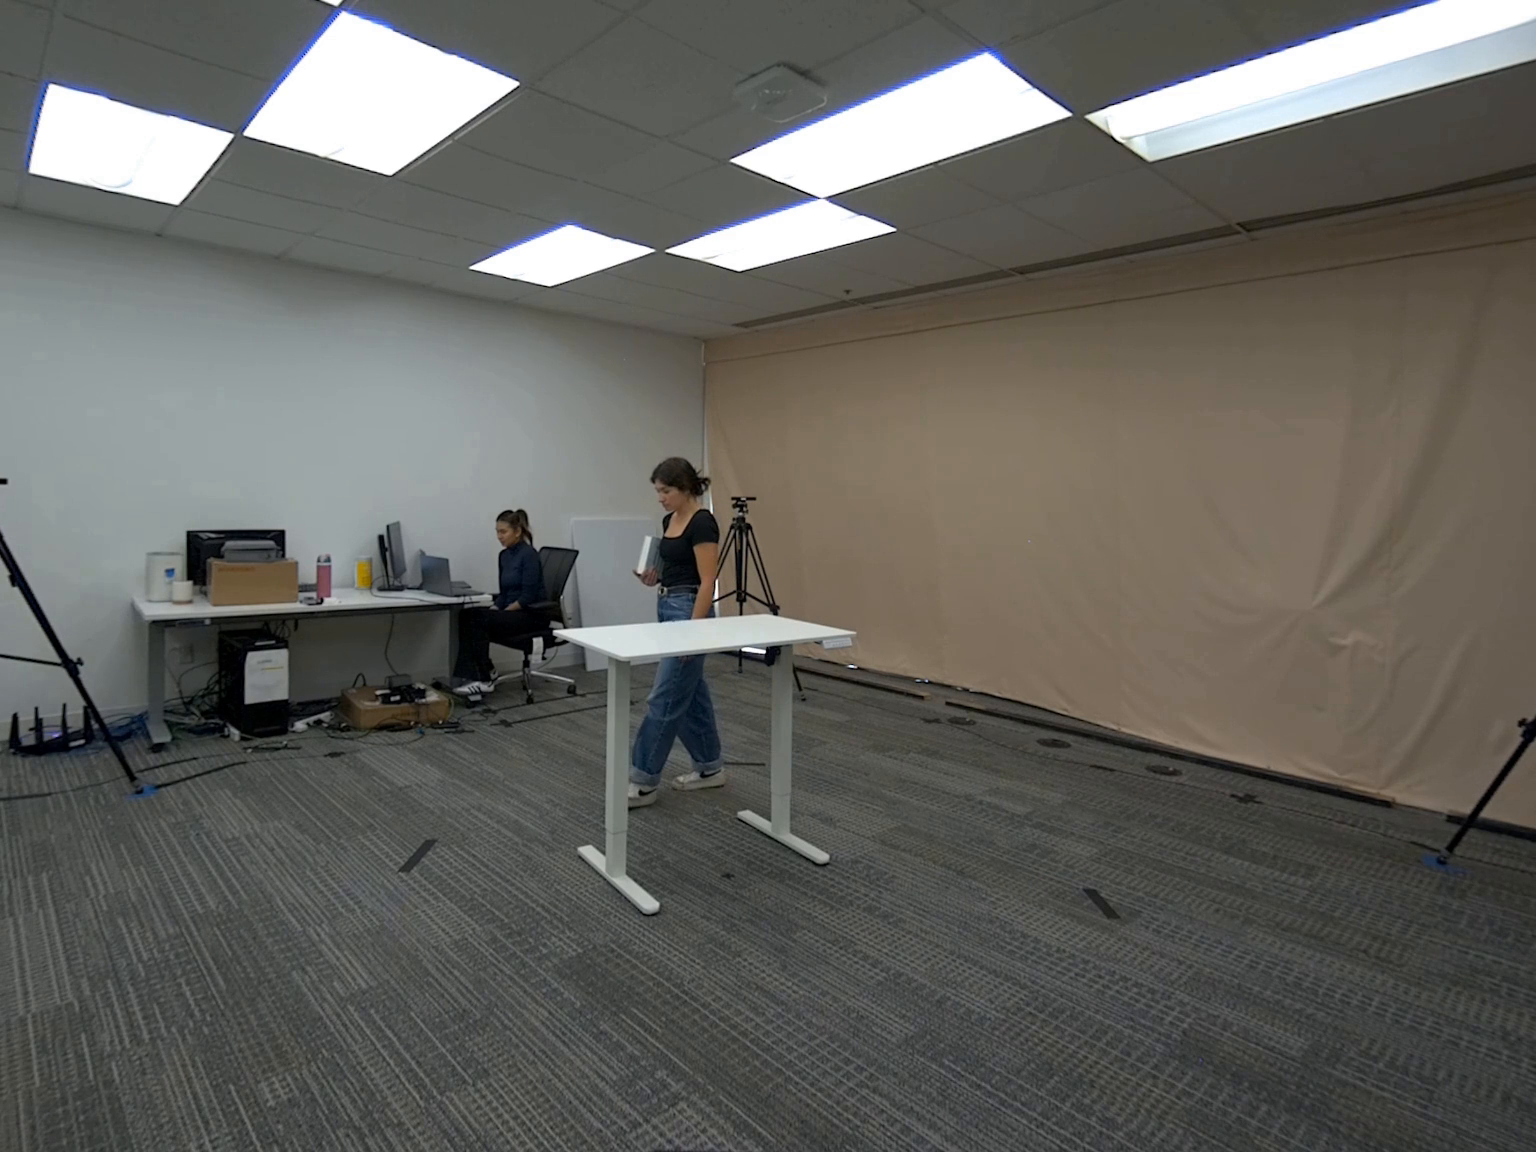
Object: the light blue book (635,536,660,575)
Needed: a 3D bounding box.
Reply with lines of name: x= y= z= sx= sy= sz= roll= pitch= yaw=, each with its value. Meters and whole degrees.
light blue book: x=-0.498 y=-0.077 z=4.045 sx=0.253 sy=0.191 sz=0.060 roll=16 pitch=-3 yaw=-41
